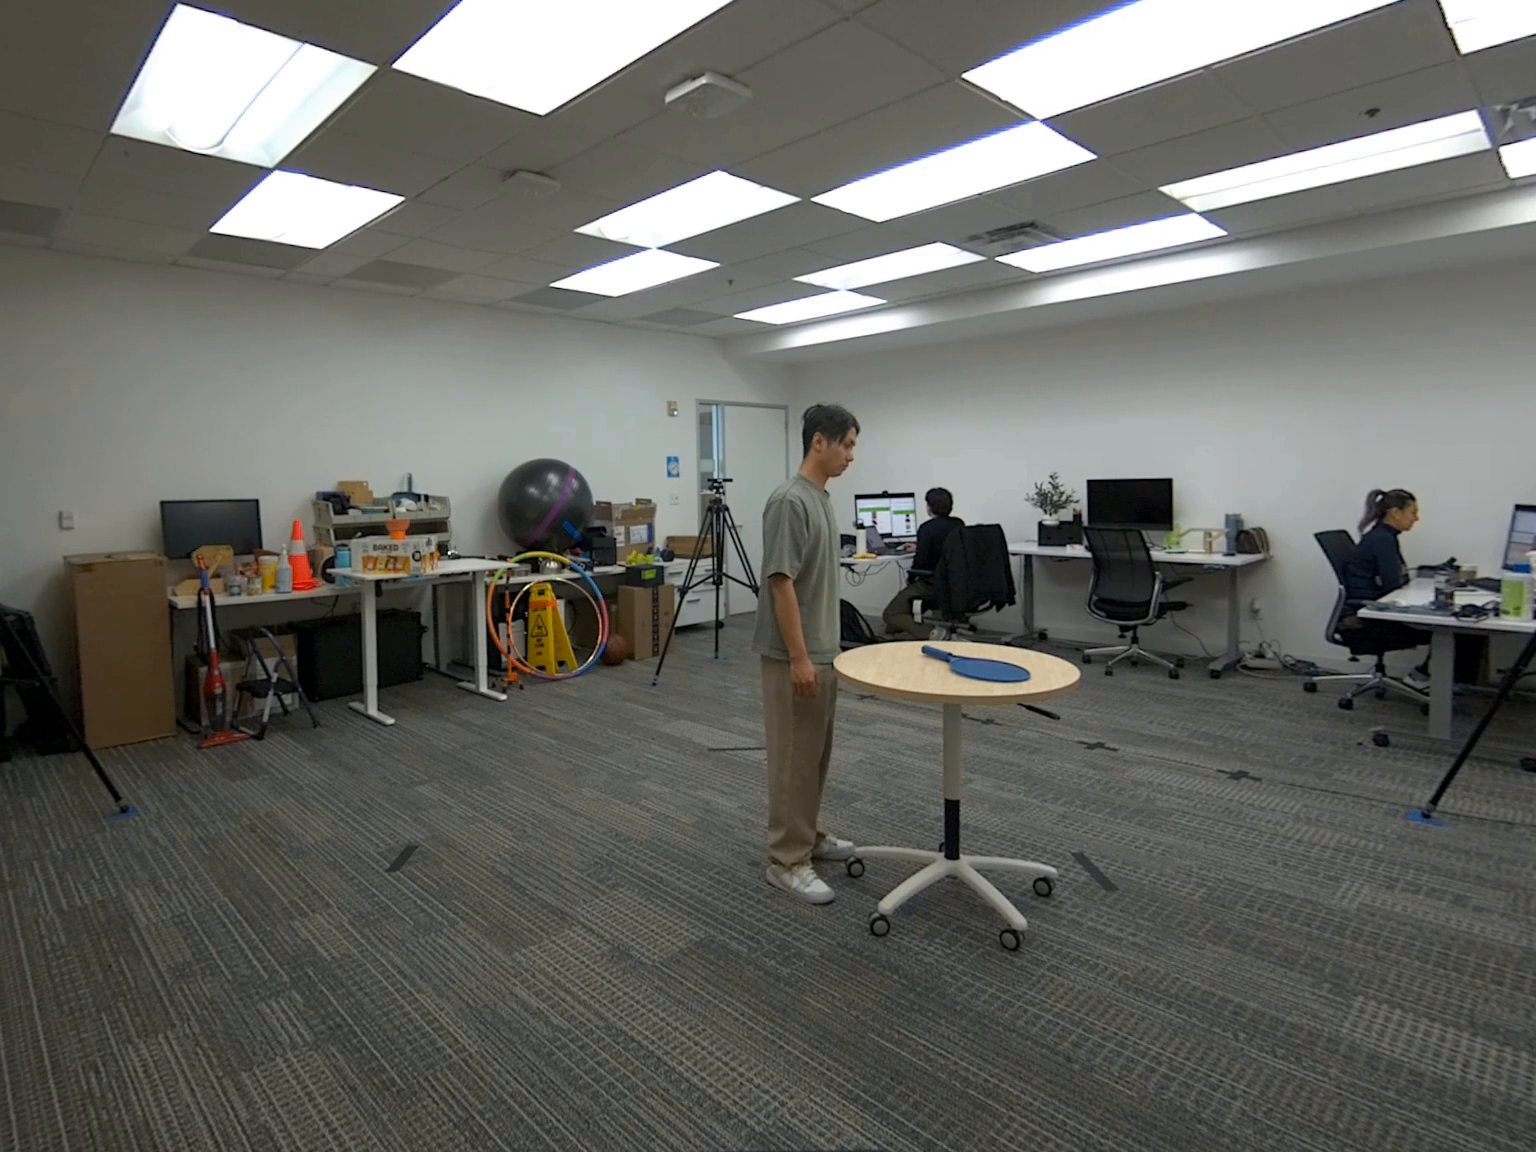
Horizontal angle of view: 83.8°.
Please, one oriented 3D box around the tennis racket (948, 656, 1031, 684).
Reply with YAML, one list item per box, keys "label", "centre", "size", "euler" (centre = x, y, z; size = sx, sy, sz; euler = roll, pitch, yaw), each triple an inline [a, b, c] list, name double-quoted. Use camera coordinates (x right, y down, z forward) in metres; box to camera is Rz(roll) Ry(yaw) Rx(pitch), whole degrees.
- label: "tennis racket"
  centre: [0.640, 0.276, 2.738]
  size: [0.209, 0.031, 0.445]
  euler: [-3, 9, -27]
